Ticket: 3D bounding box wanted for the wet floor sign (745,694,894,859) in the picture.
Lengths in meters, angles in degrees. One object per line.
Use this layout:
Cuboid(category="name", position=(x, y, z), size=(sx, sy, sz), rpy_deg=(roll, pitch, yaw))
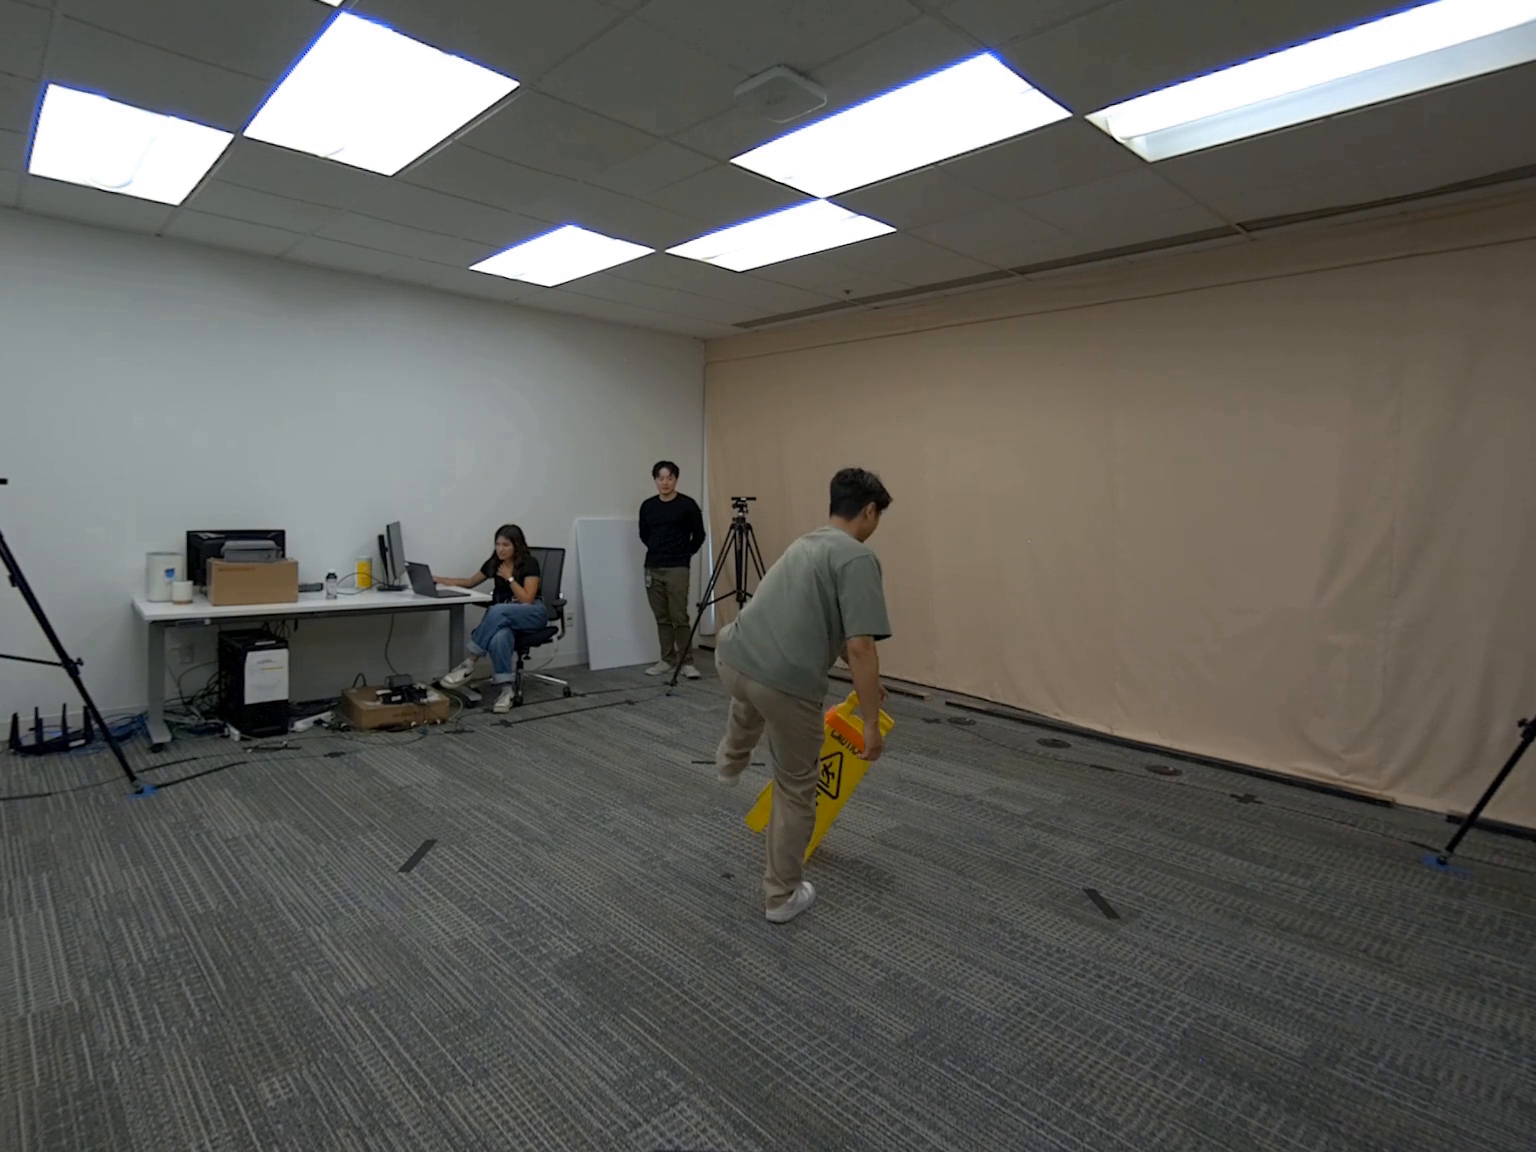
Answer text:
Cuboid(category="wet floor sign", position=(0.218, 0.762, 3.293), size=(0.285, 0.645, 0.288), rpy_deg=(36, 9, 7))
